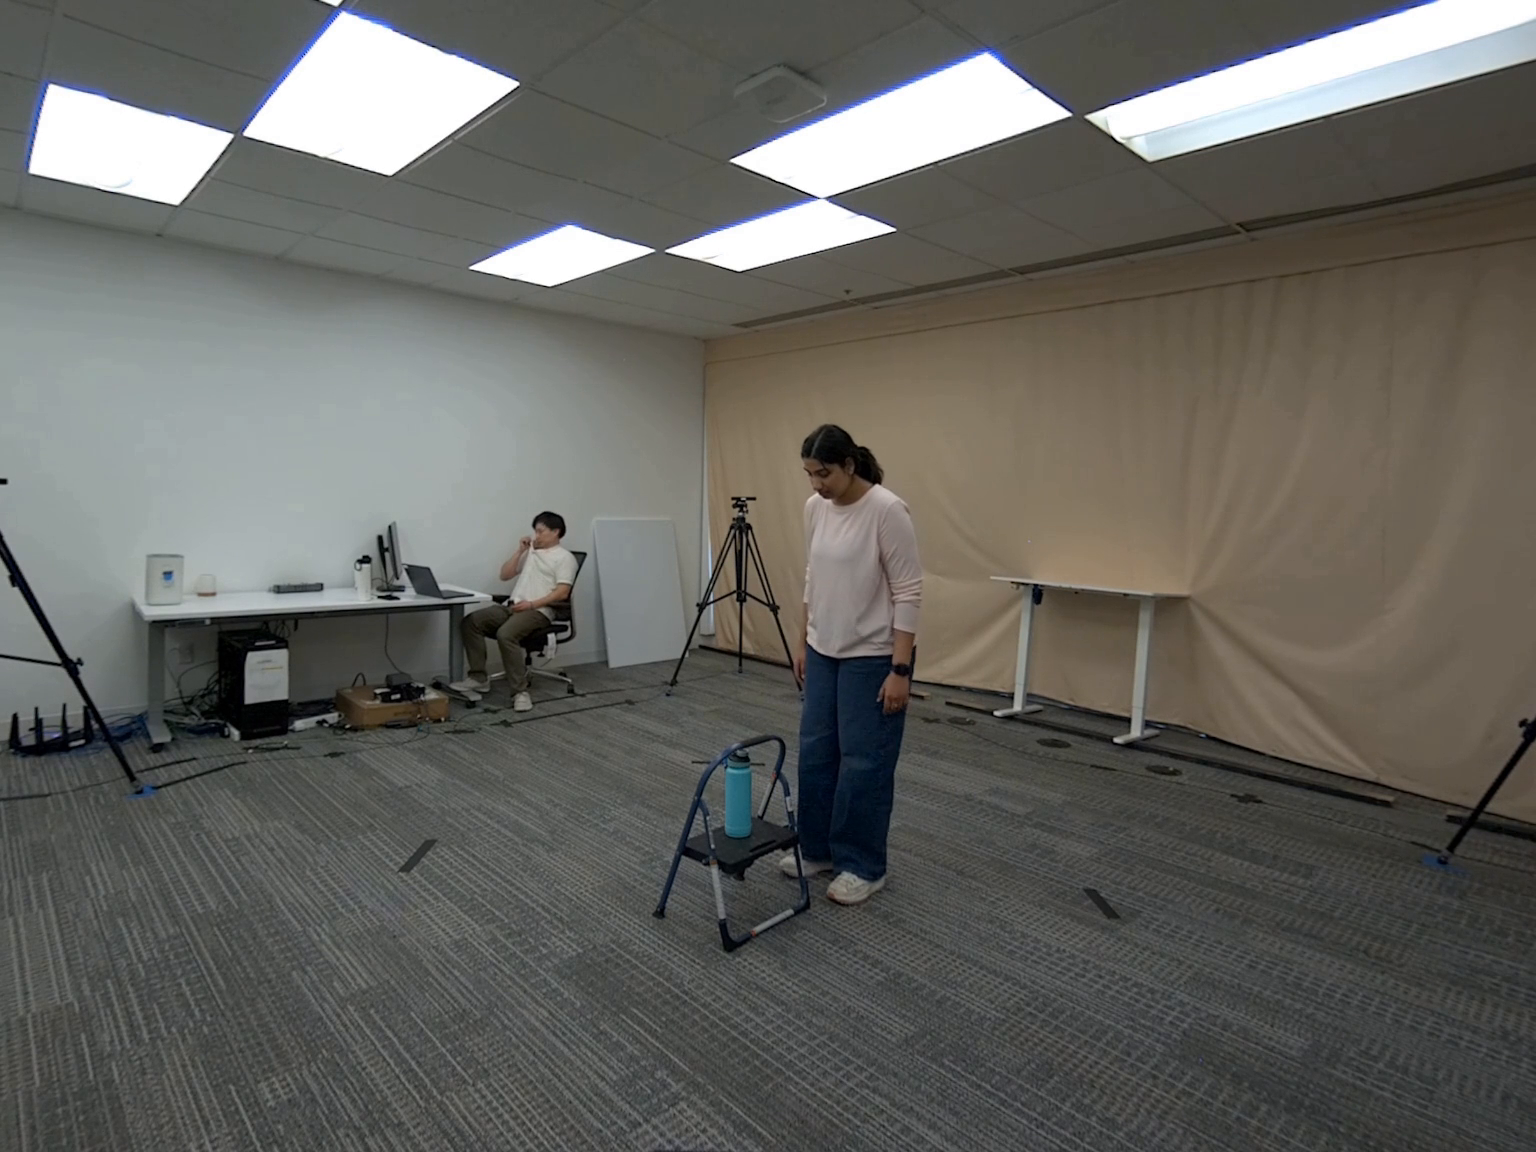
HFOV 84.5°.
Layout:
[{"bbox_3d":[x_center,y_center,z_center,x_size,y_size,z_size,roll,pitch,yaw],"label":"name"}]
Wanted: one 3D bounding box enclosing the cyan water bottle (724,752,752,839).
[{"bbox_3d":[-0.107,0.734,2.840,0.092,0.283,0.092,-2,0,-1],"label":"cyan water bottle"}]
